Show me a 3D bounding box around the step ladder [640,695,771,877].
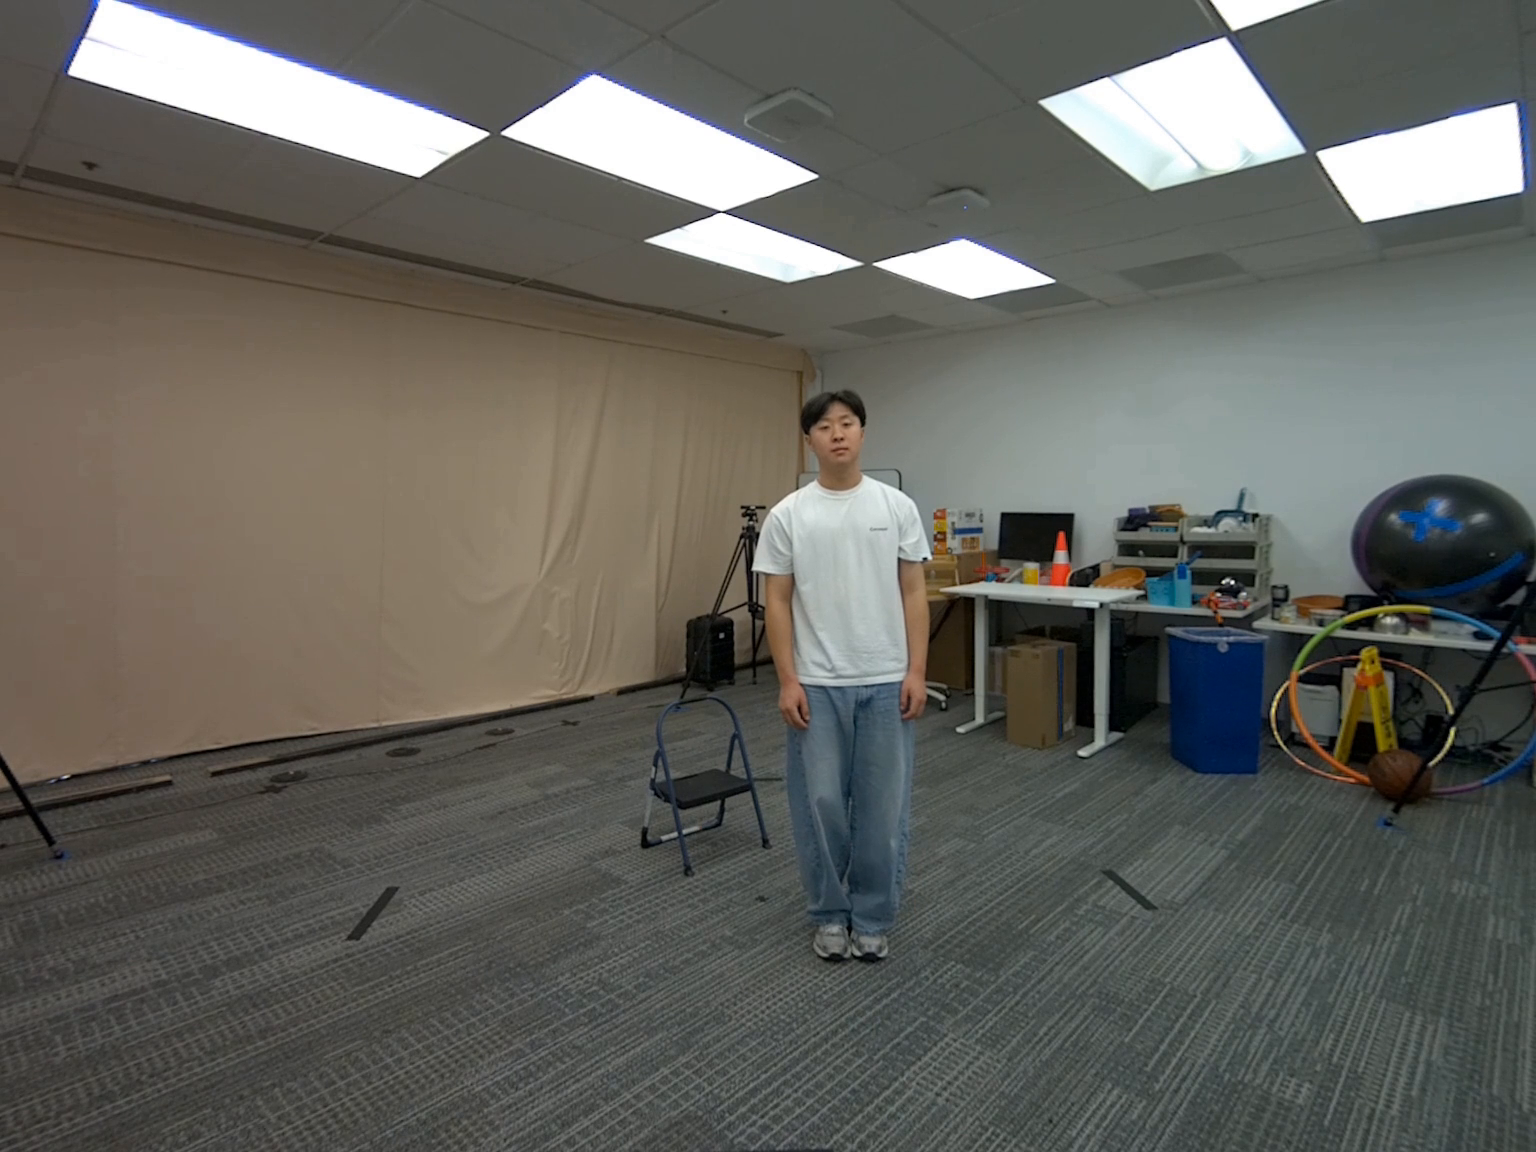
[{"bbox_3d":[-0.256,0.805,3.418,0.417,0.605,0.361,-3,4,-40],"label":"step ladder"}]
